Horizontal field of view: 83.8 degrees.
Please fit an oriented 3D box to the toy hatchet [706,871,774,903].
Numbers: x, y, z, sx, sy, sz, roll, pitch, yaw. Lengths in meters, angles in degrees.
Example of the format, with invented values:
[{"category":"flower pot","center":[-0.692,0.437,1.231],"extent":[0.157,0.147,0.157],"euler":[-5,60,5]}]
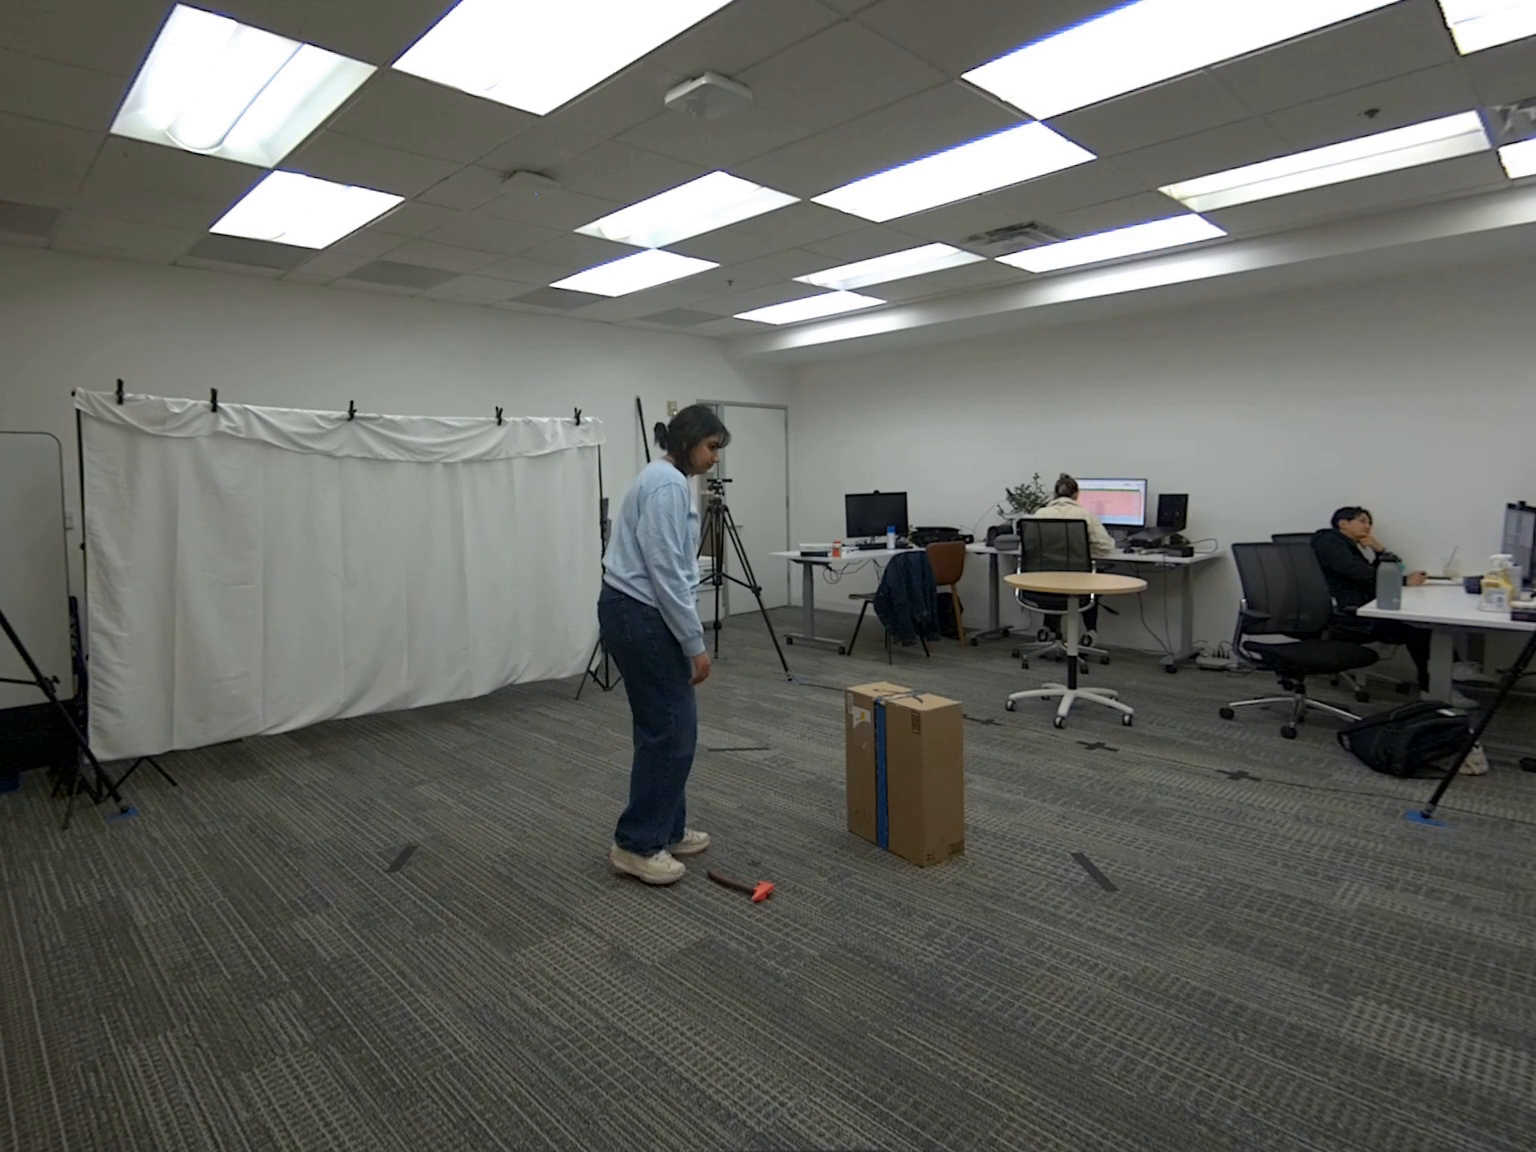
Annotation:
[{"category":"toy hatchet","center":[-0.082,1.051,2.943],"extent":[0.128,0.029,0.278],"euler":[-6,6,-38]}]
